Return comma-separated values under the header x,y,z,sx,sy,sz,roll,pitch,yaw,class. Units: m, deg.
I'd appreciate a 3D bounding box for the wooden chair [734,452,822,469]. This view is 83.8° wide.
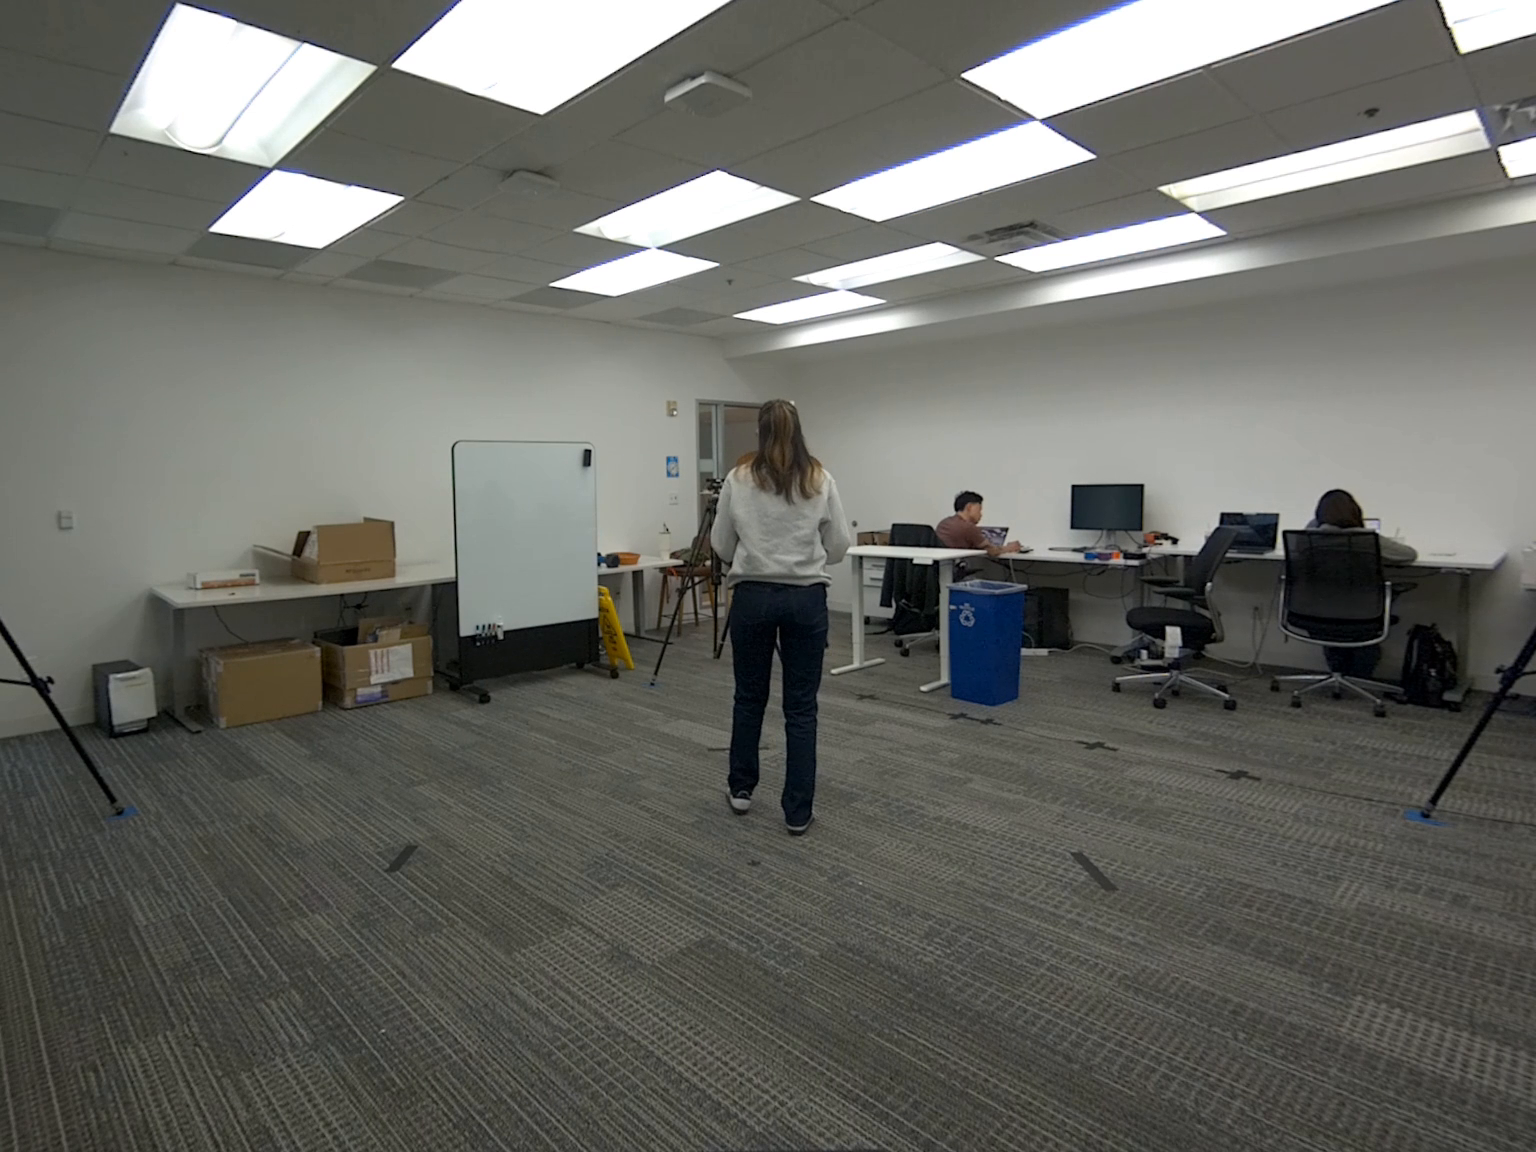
x,y,z,sx,sy,sz,roll,pitch,yaw,class
0.020,-0.070,3.846,0.477,0.887,0.519,2,-13,-4,wooden chair
